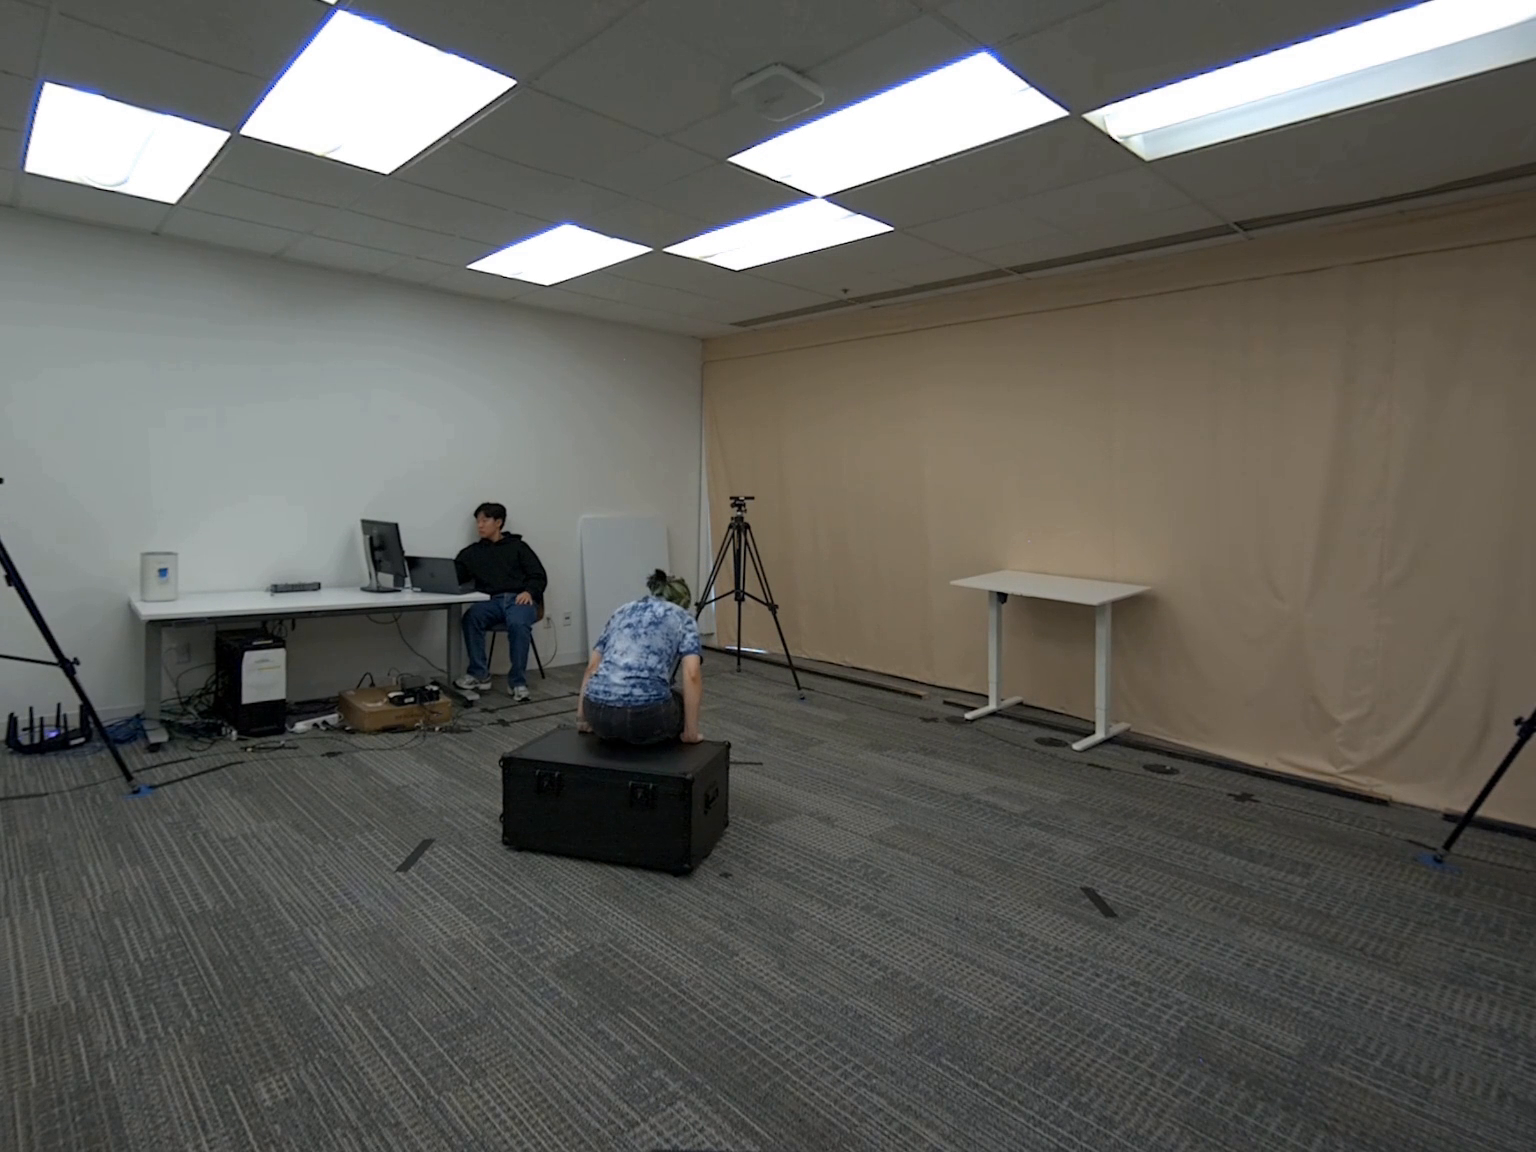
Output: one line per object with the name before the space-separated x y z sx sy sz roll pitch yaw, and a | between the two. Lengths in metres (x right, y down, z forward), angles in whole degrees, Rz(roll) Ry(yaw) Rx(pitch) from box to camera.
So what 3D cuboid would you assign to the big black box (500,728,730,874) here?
big black box | -0.632 0.876 3.387 0.873 0.395 0.516 3 5 15
